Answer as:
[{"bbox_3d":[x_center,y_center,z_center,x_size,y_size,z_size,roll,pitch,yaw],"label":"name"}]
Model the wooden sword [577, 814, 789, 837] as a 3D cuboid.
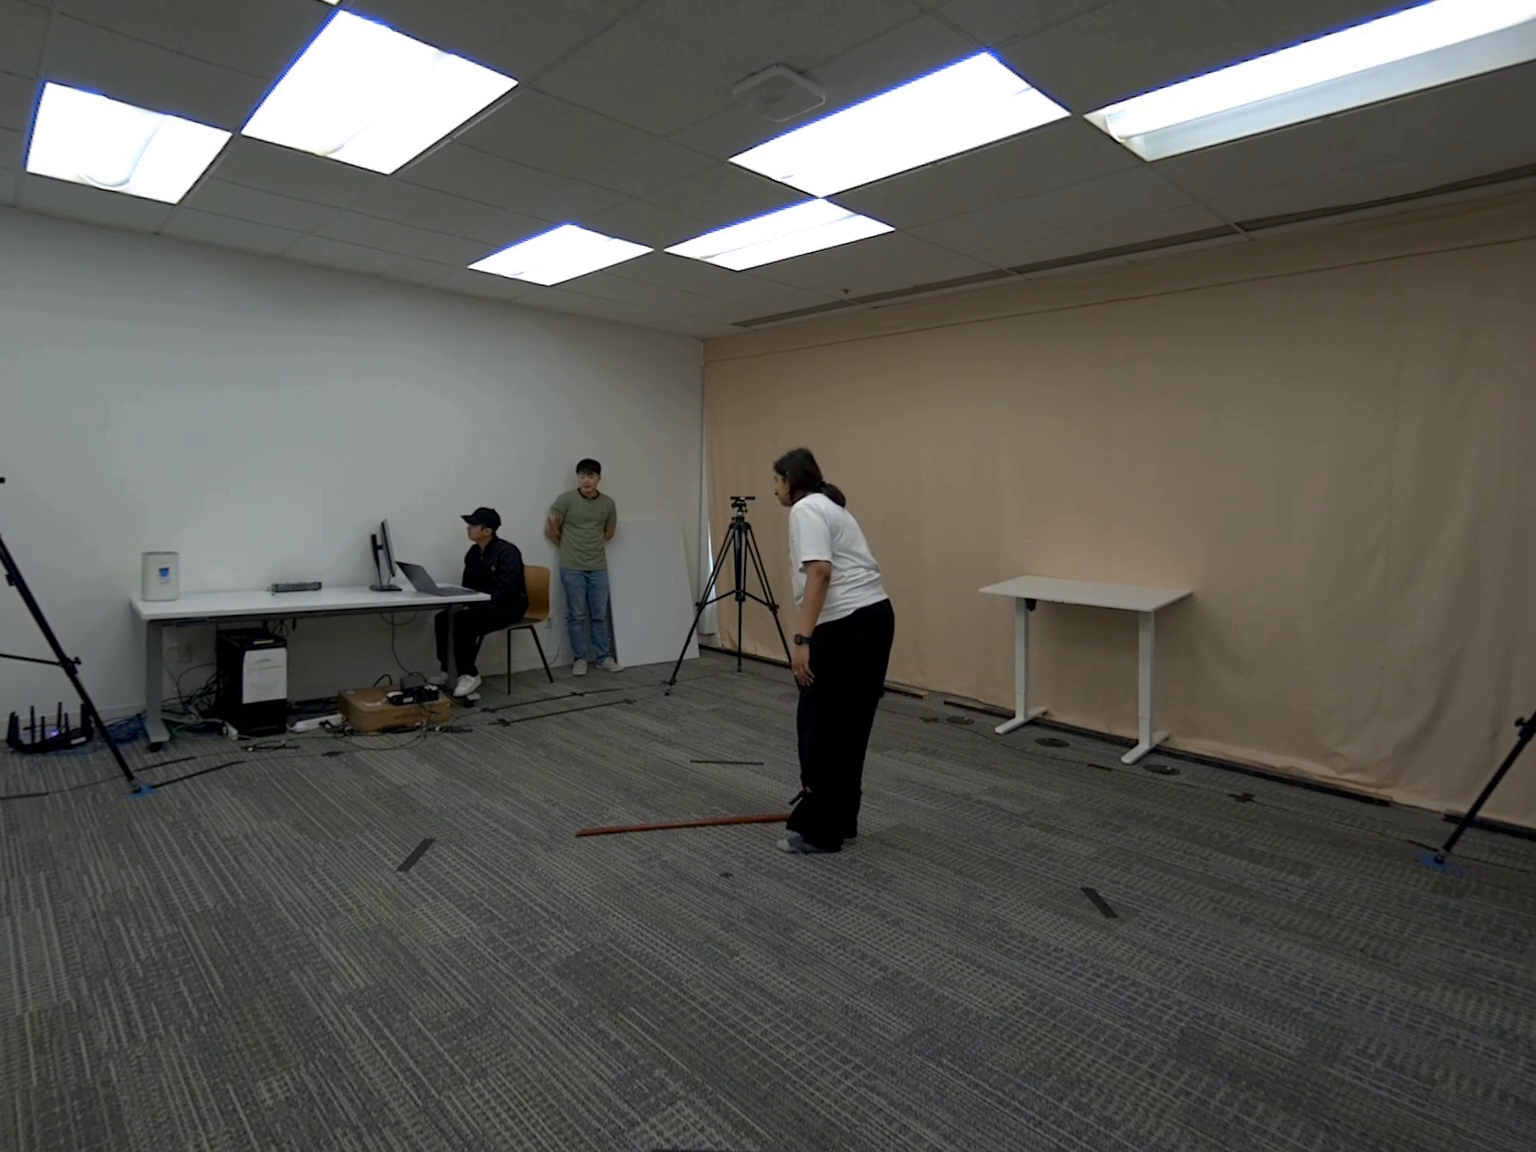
[{"bbox_3d":[-0.300,1.034,3.558,1.014,0.024,0.051,0,-23,-14],"label":"wooden sword"}]
